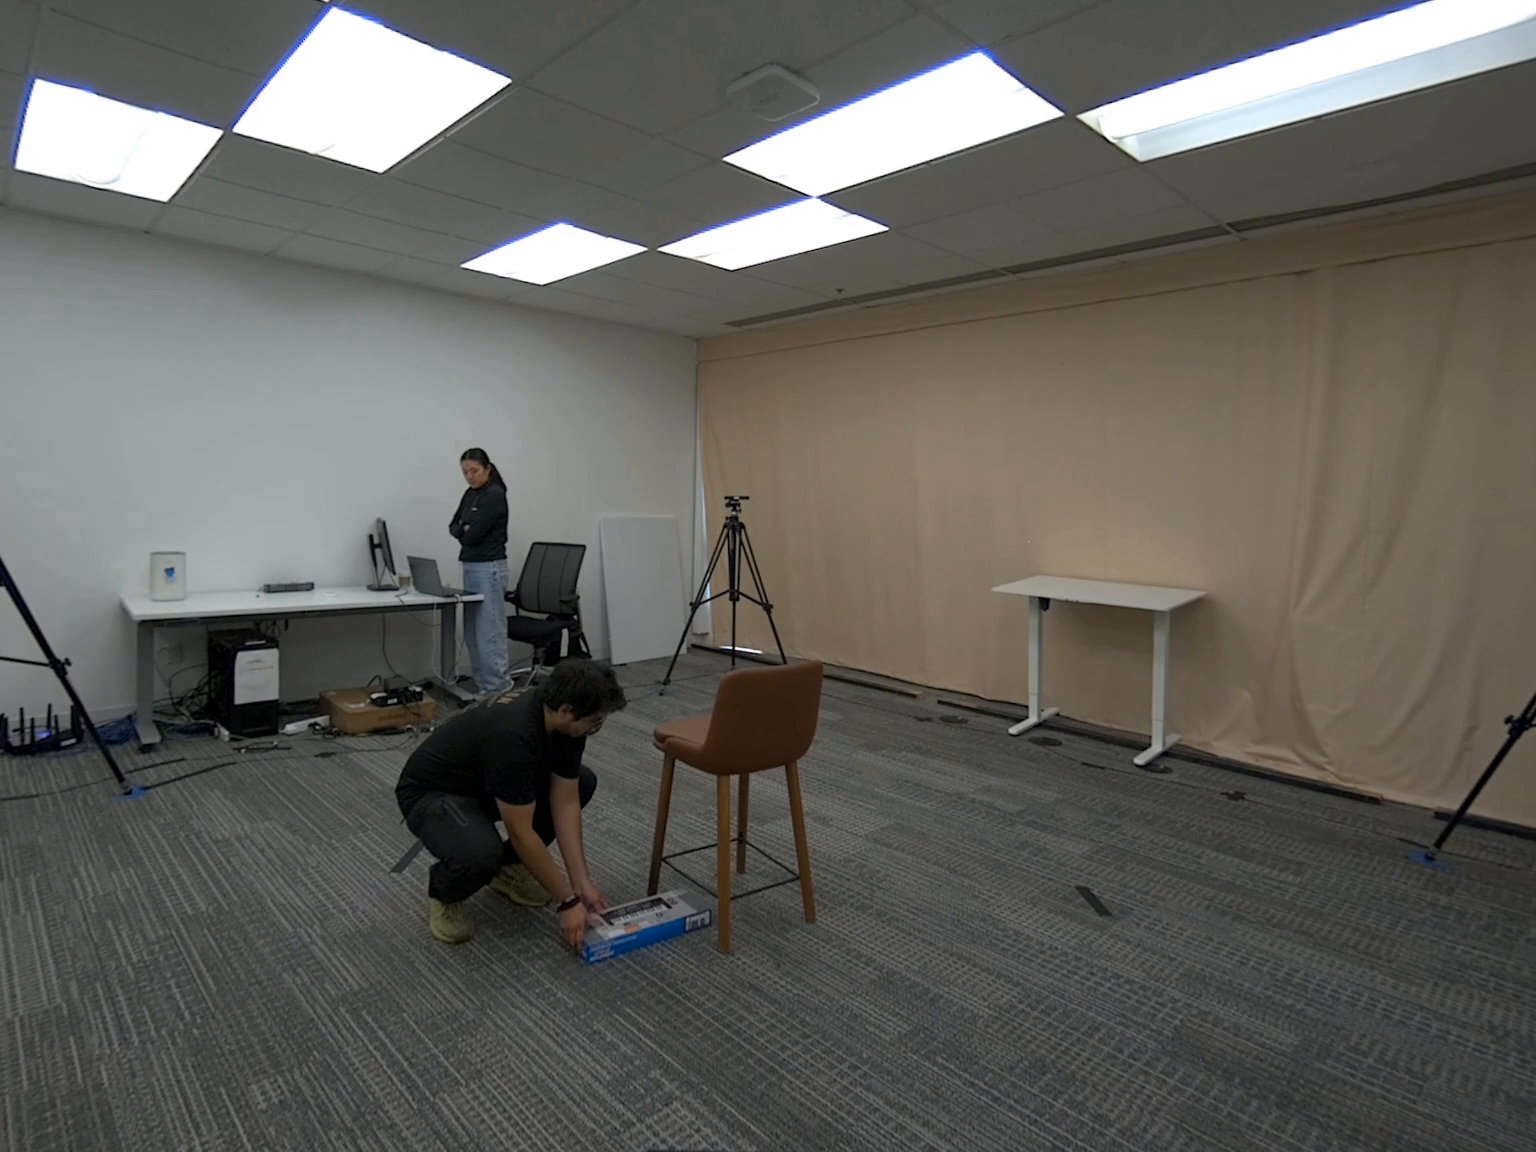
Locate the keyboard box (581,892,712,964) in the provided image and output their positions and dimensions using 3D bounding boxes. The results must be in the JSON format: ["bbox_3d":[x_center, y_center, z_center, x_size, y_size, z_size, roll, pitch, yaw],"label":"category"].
[{"bbox_3d":[-0.417,1.110,2.676,0.427,0.059,0.180,-3,7,-35],"label":"keyboard box"}]
